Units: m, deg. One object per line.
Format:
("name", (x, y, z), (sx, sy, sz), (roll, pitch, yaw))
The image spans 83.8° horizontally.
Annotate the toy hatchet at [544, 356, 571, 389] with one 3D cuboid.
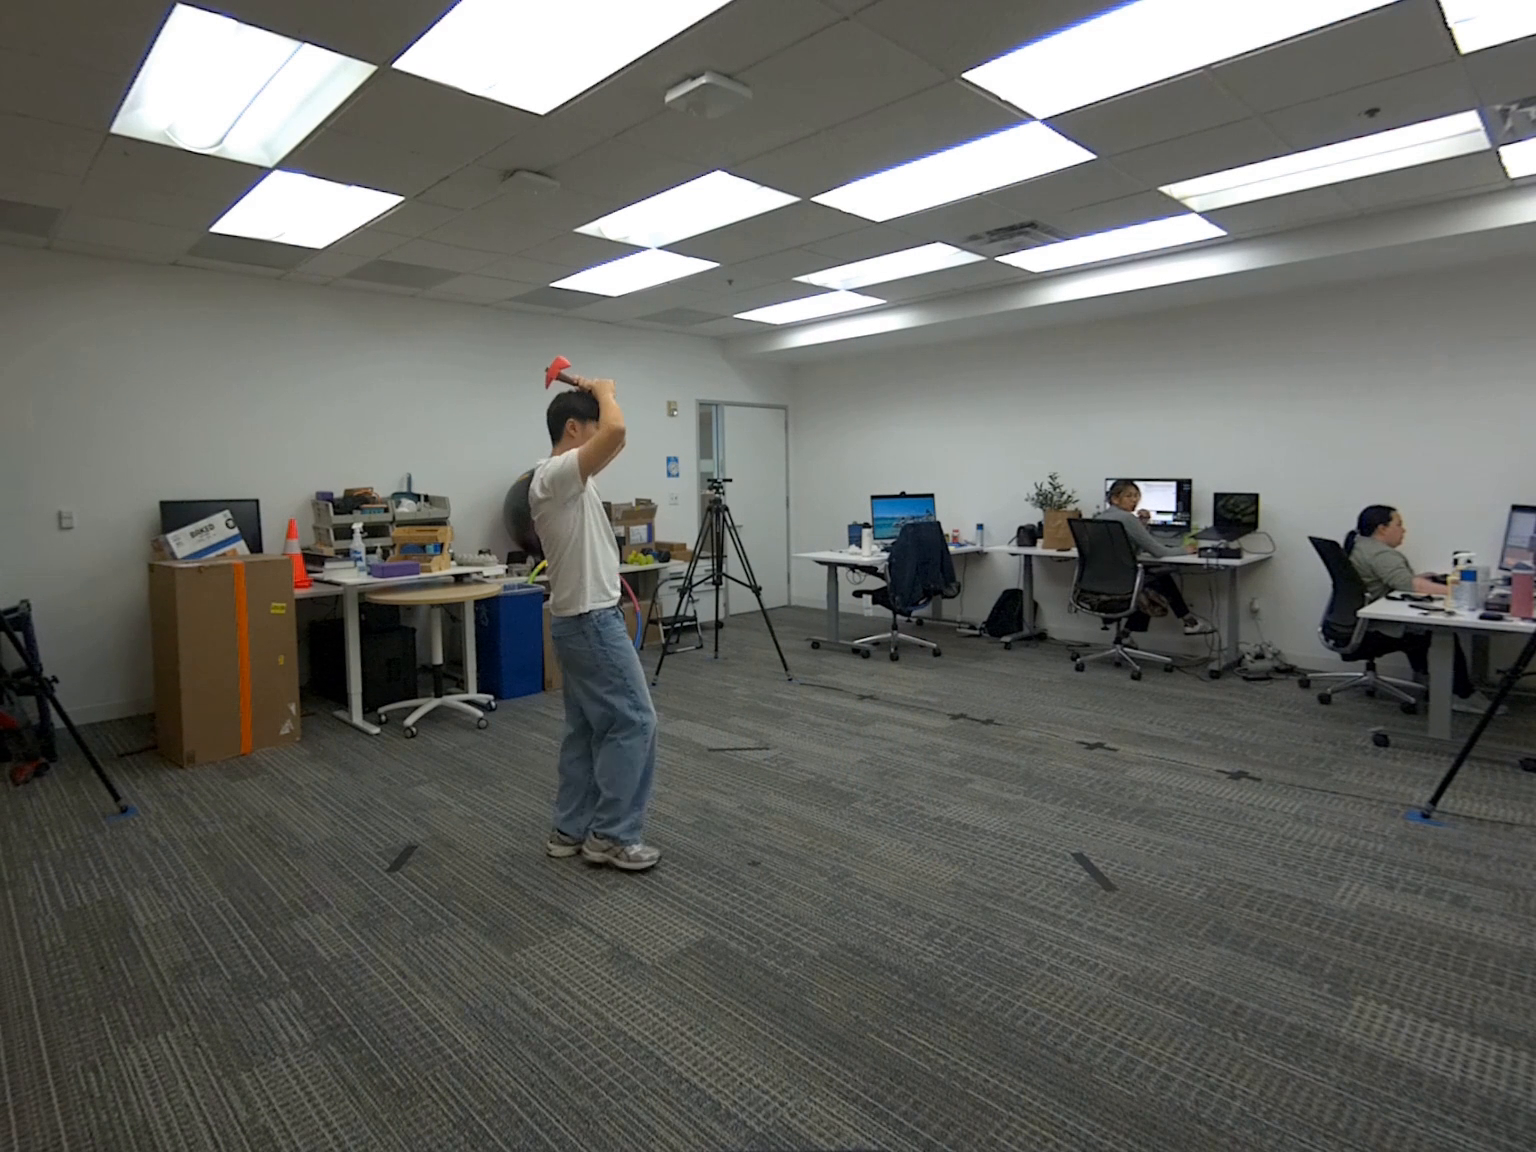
("toy hatchet", (-0.694, -0.751, 3.179), (0.273, 0.131, 0.029), (6, 0, 11))
